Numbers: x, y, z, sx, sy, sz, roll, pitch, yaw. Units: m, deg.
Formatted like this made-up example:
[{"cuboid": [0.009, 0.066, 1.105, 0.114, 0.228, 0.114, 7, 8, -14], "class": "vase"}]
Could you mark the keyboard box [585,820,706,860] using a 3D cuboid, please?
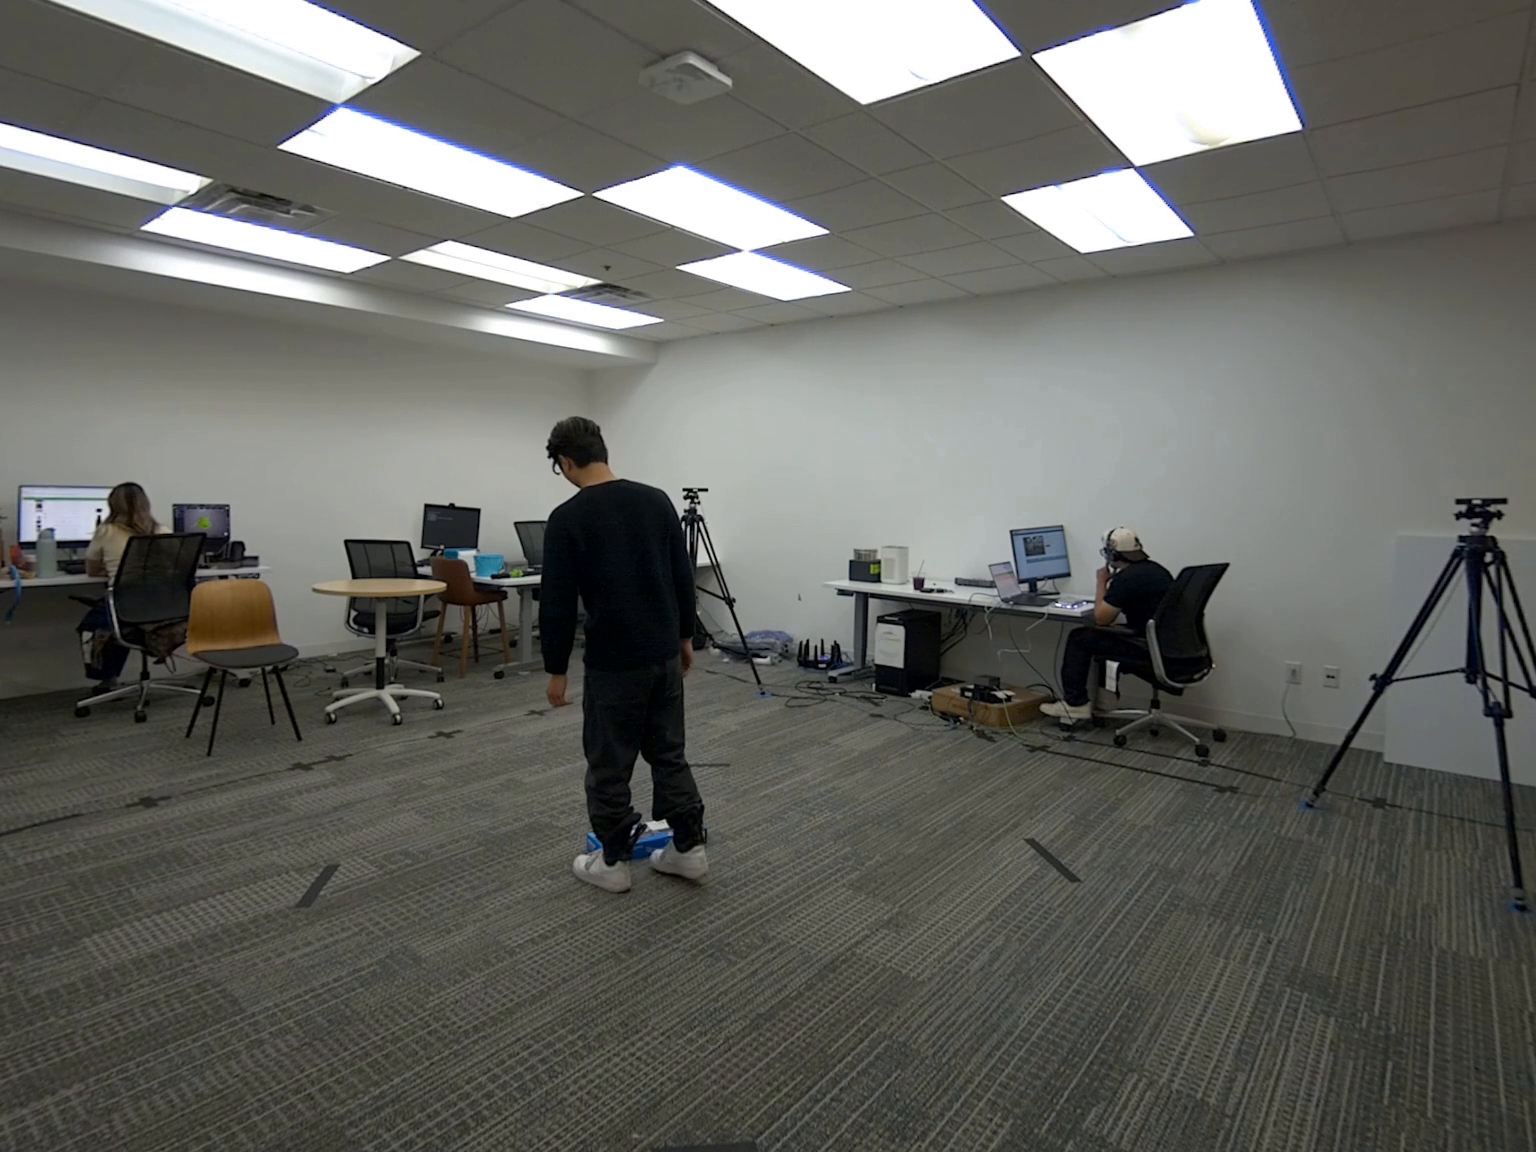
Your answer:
[{"cuboid": [-0.476, 1.015, 3.303, 0.425, 0.059, 0.181, -2, 6, -31], "class": "keyboard box"}]
